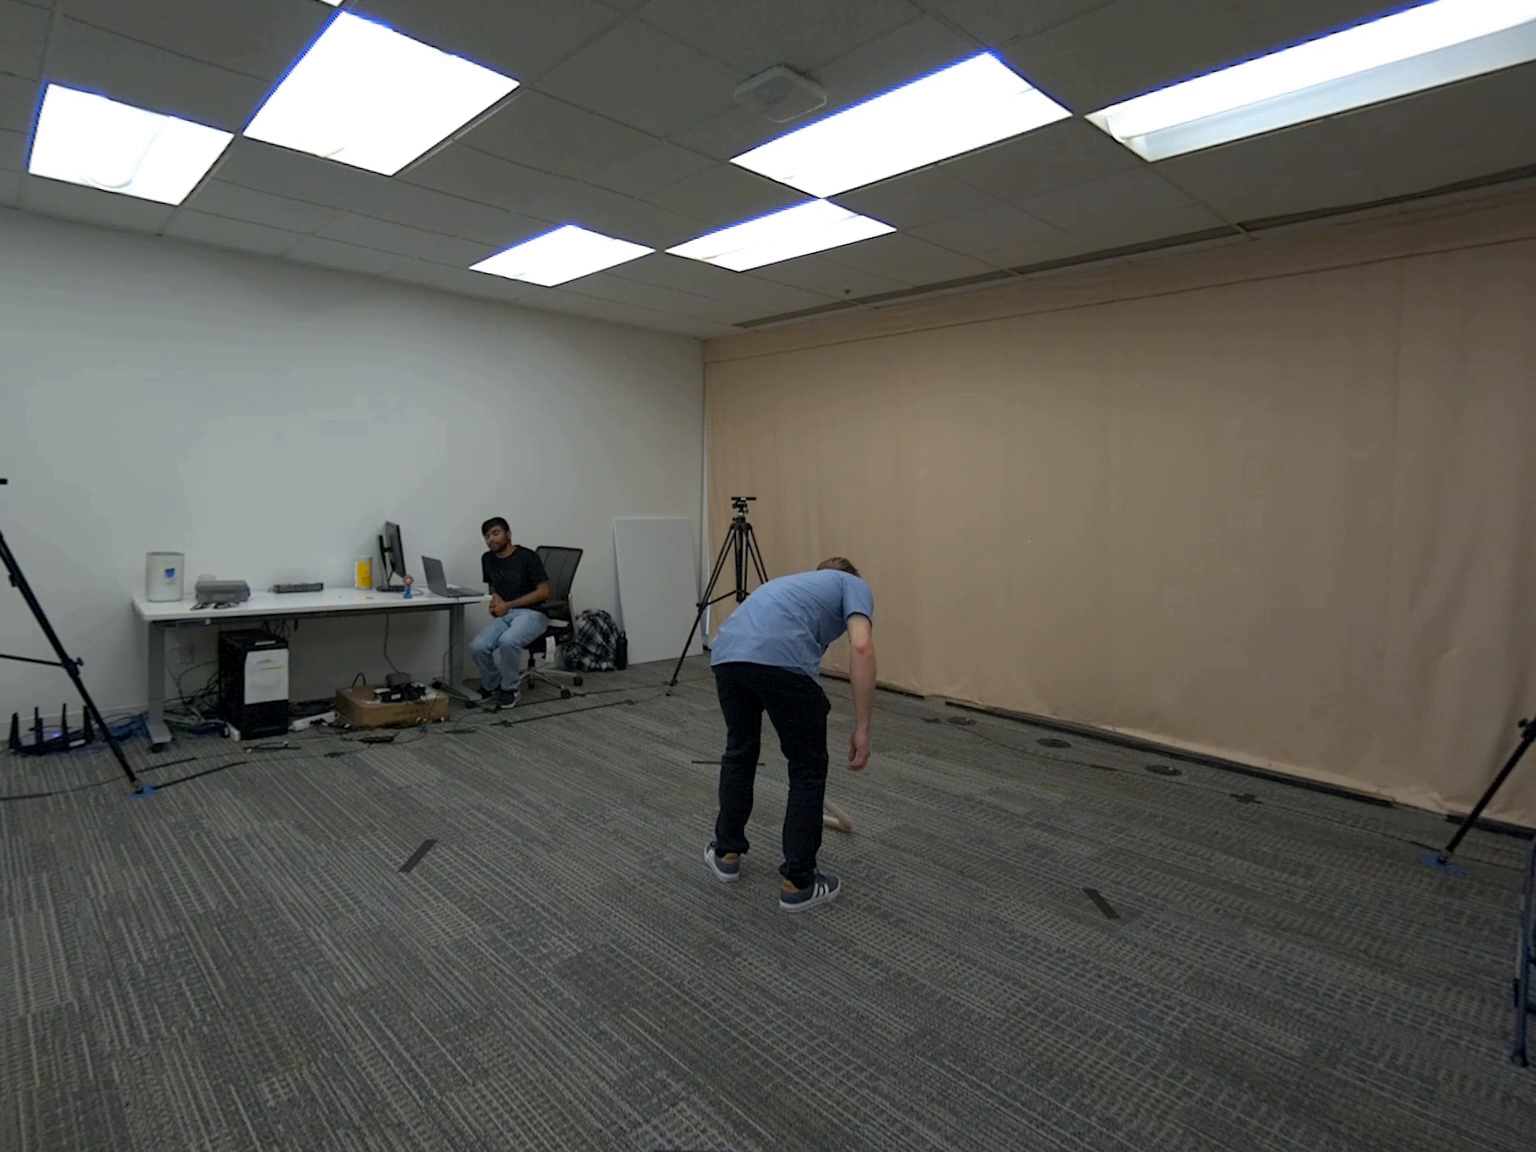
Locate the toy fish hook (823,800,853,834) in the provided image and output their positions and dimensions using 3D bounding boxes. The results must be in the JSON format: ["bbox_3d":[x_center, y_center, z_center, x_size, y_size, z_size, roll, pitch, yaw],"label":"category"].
[{"bbox_3d":[0.178,0.927,3.442,0.229,0.049,0.491,3,-35,32],"label":"toy fish hook"}]
